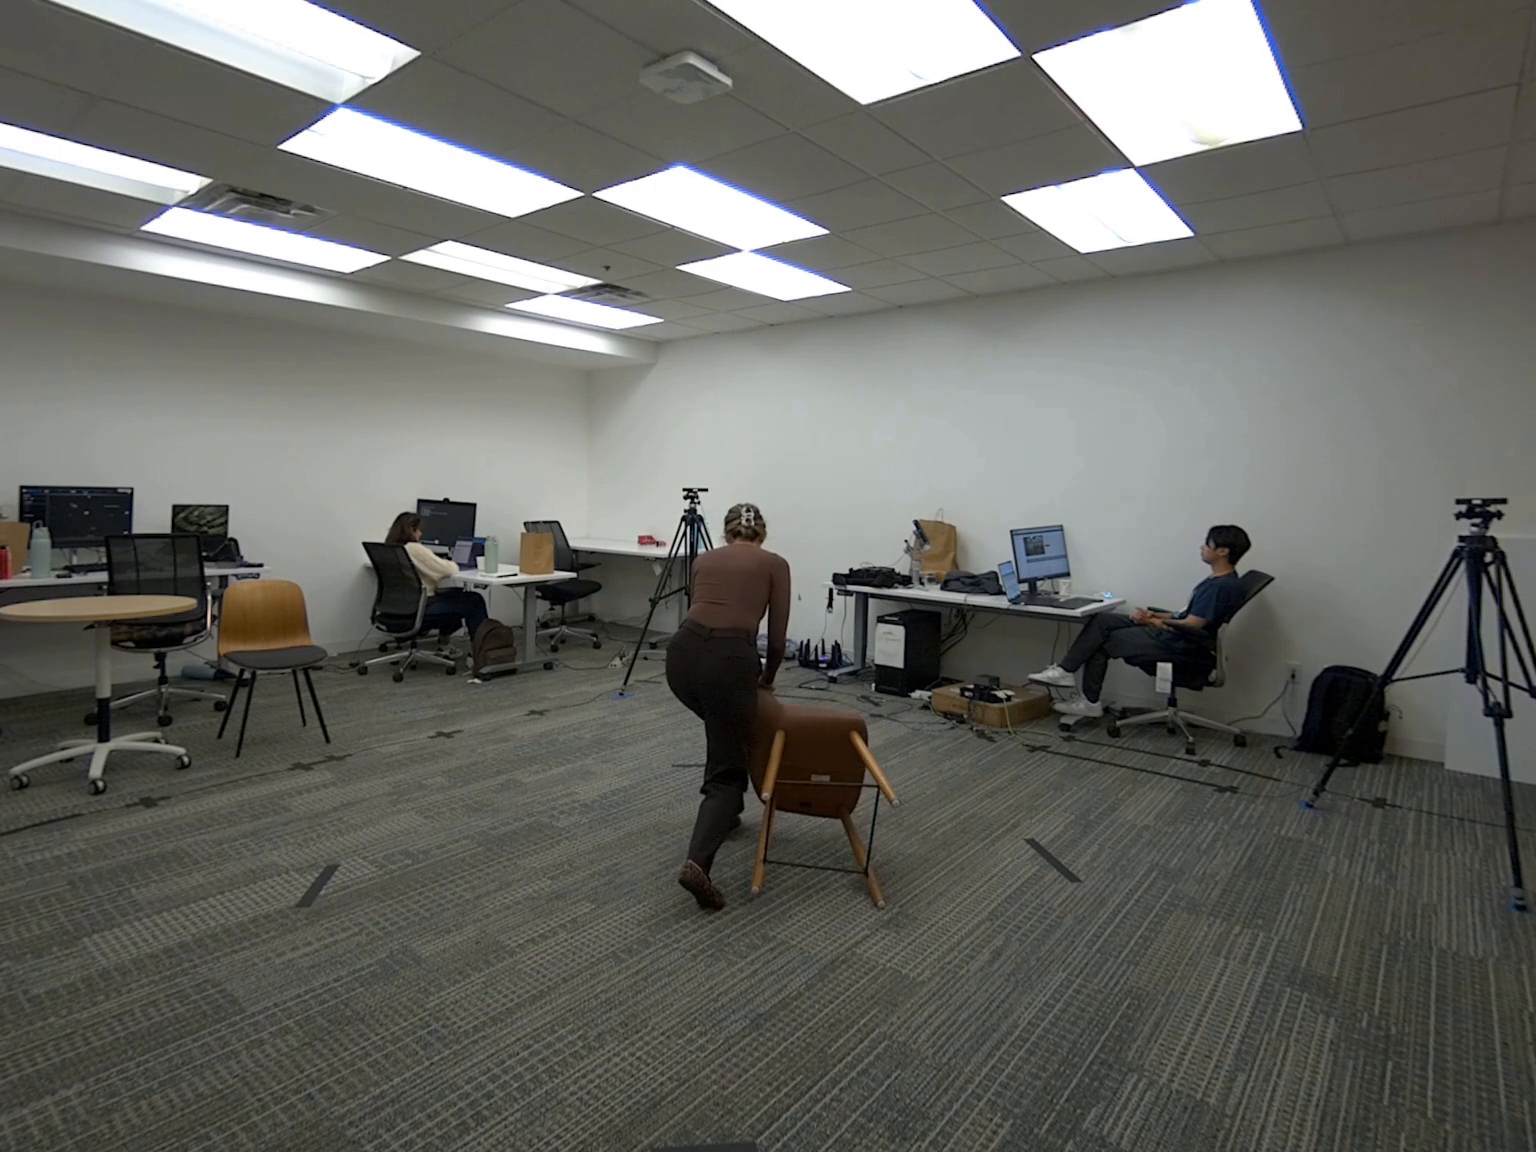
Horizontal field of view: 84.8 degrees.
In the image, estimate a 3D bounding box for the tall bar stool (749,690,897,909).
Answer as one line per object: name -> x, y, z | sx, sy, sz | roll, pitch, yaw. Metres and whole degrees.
tall bar stool -> 0.154, 0.775, 3.210 | 0.465, 0.451, 0.906 | 3, 16, -6
